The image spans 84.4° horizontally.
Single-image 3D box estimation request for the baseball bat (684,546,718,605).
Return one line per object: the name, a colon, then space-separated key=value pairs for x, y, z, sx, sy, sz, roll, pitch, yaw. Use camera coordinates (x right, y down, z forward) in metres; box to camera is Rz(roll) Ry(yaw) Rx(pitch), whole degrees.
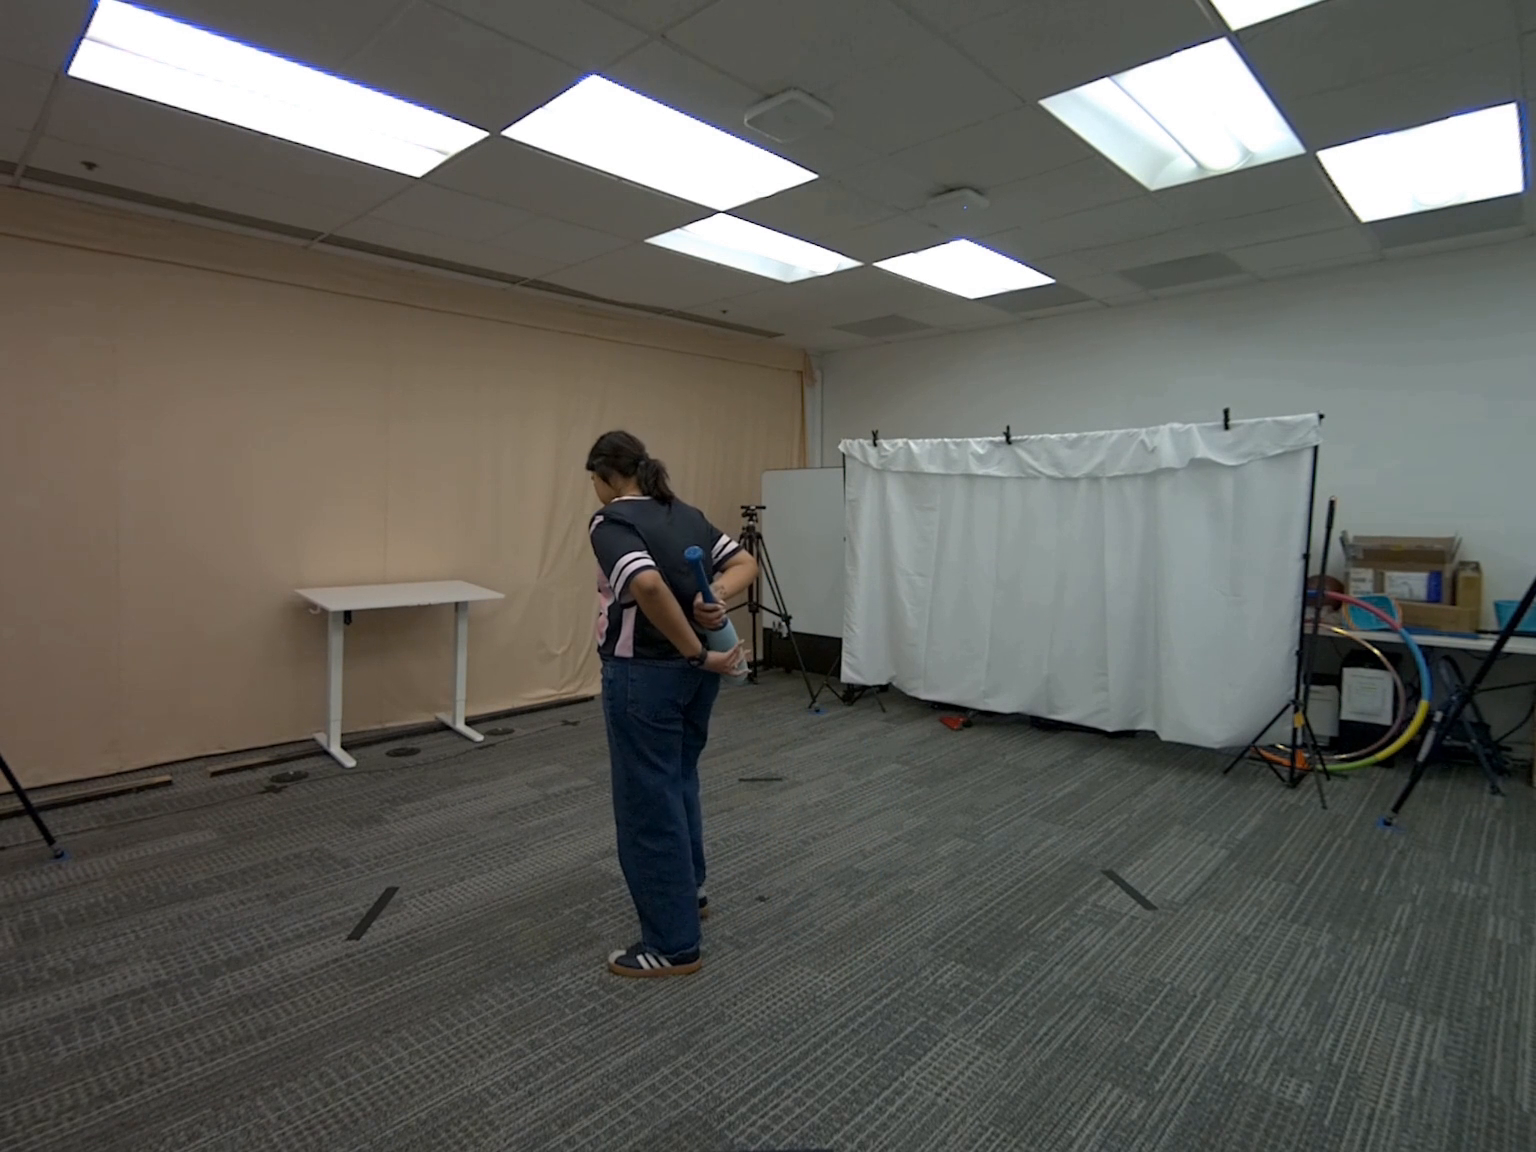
baseball bat: x=-0.138 y=0.116 z=2.339 sx=0.090 sy=0.528 sz=0.091 roll=-9 pitch=44 yaw=7
